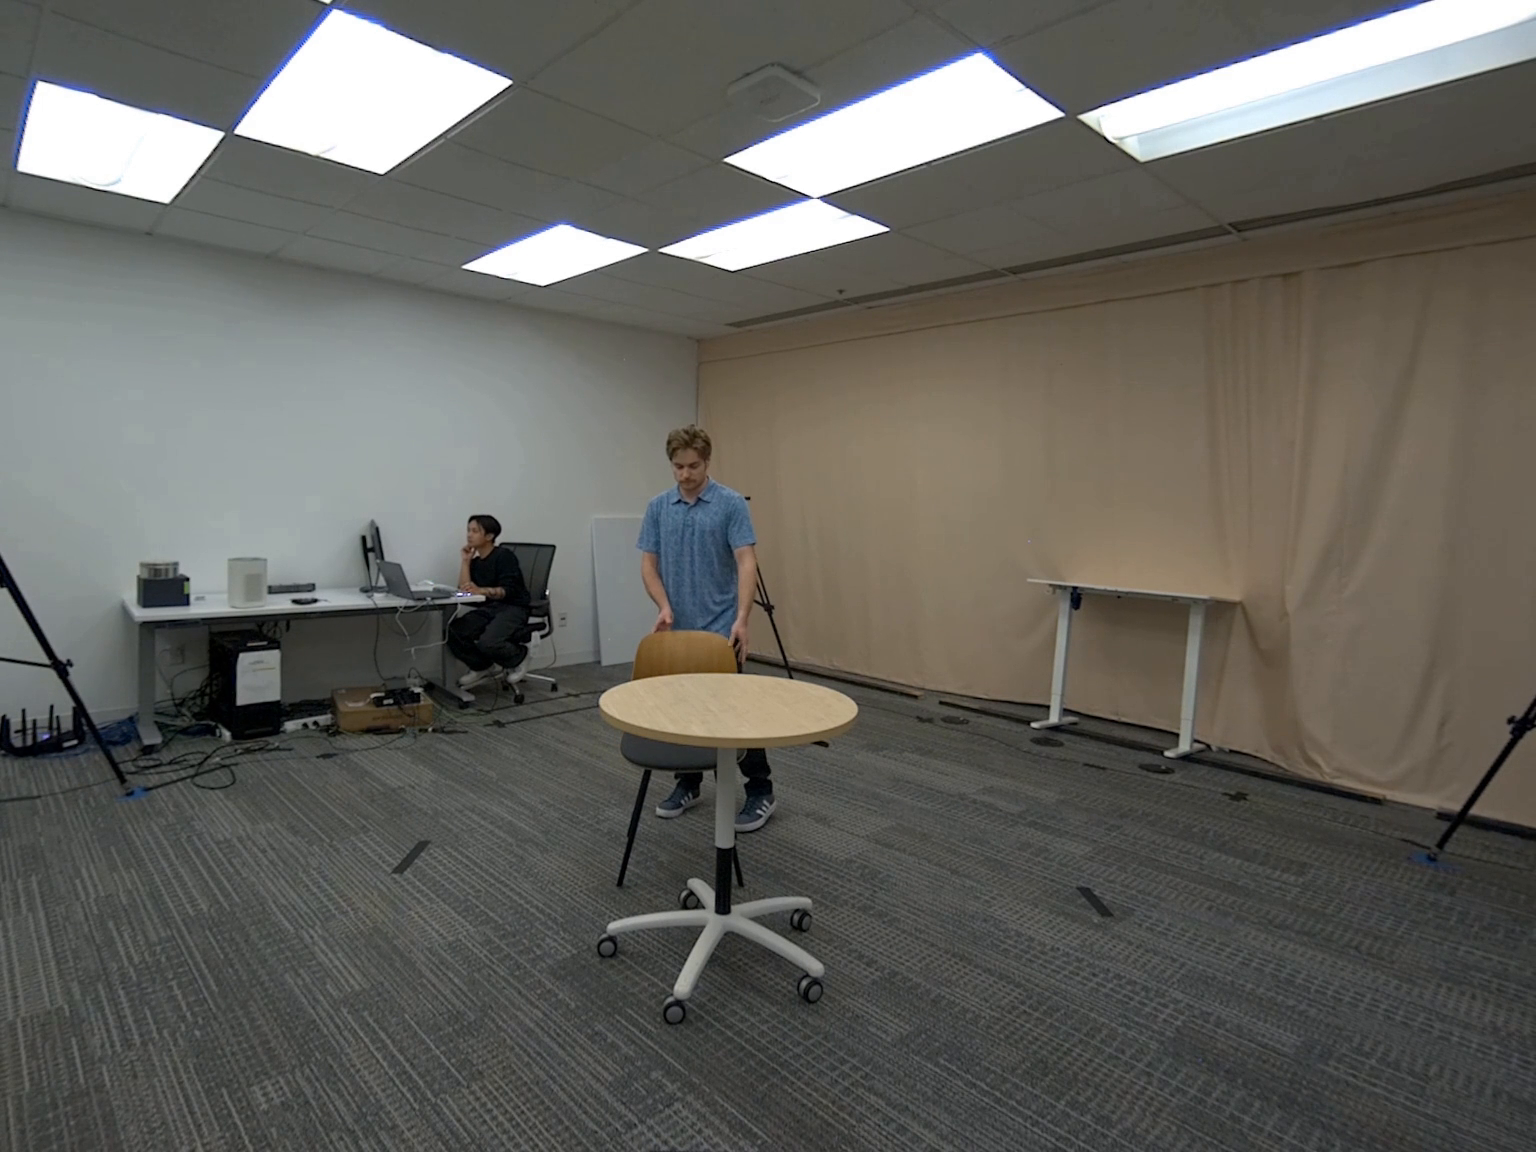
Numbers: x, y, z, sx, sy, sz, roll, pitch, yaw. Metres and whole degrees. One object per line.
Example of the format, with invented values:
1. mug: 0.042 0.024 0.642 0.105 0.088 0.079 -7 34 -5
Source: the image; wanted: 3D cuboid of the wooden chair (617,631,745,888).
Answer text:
1. wooden chair: -0.326 0.665 3.183 0.476 0.878 0.524 2 -2 -5
